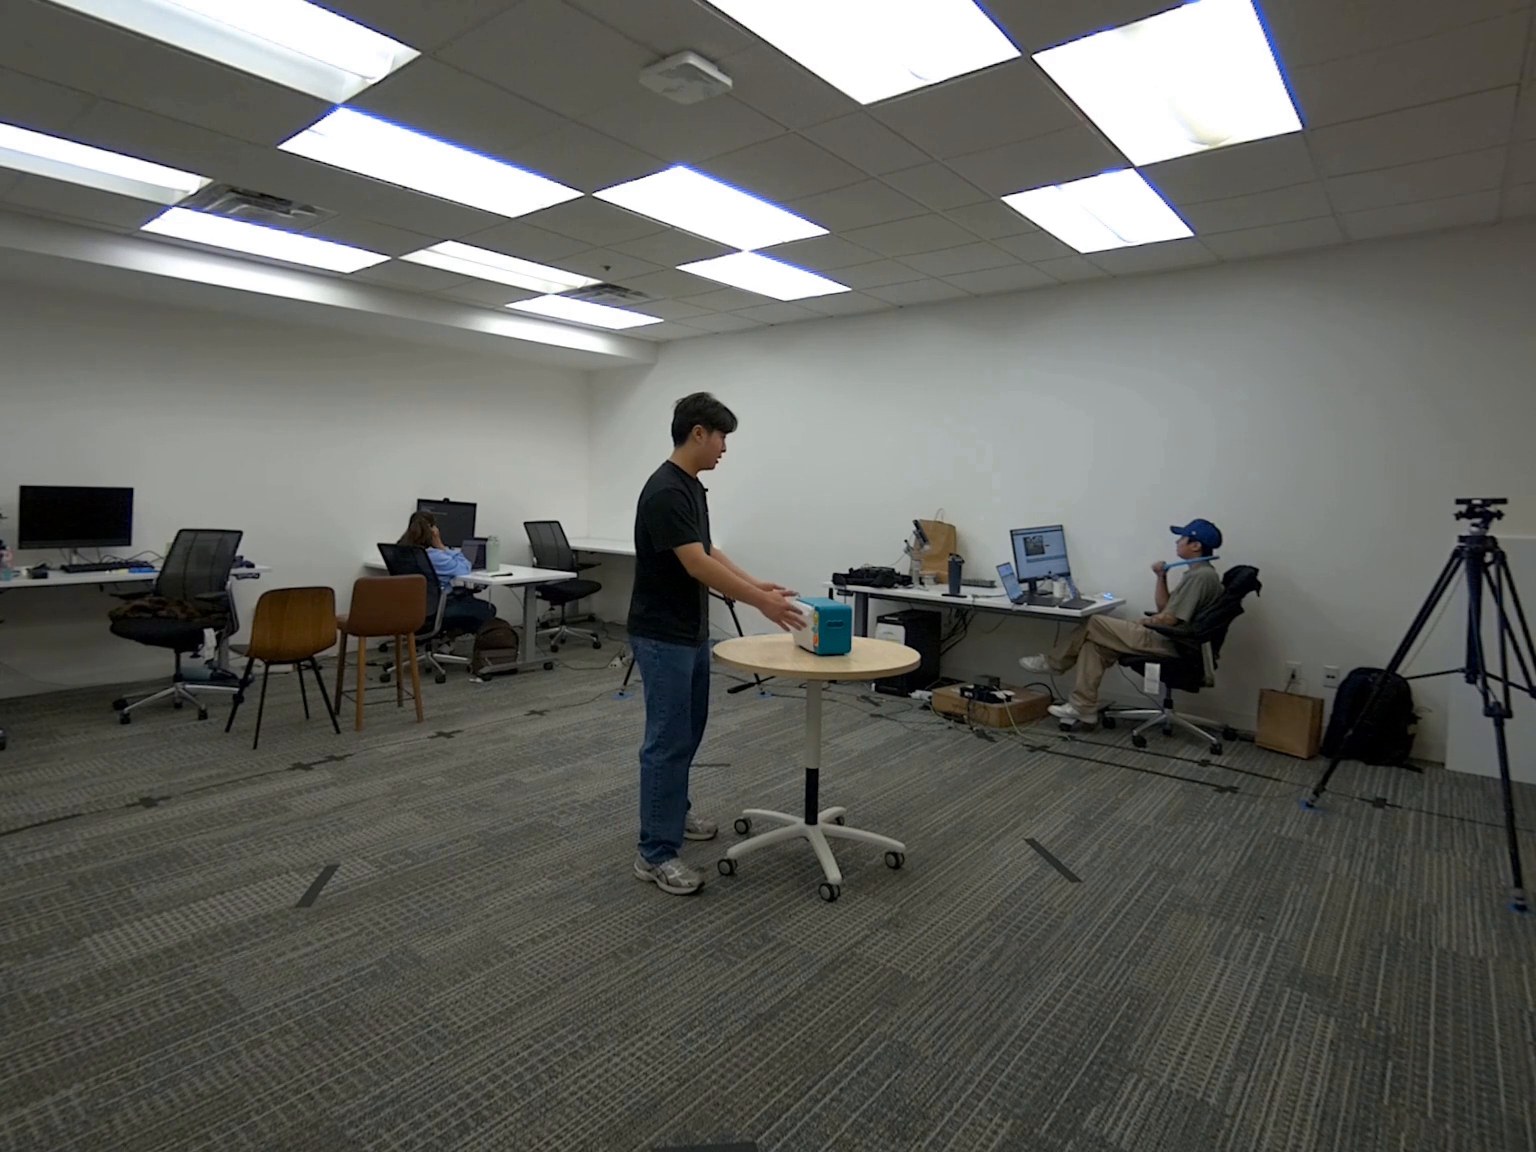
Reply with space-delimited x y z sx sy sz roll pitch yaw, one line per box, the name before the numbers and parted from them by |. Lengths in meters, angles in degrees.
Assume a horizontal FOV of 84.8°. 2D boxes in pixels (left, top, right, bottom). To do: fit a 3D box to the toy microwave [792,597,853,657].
toy microwave | 0.187 0.183 3.185 0.150 0.183 0.291 -1 5 -15
